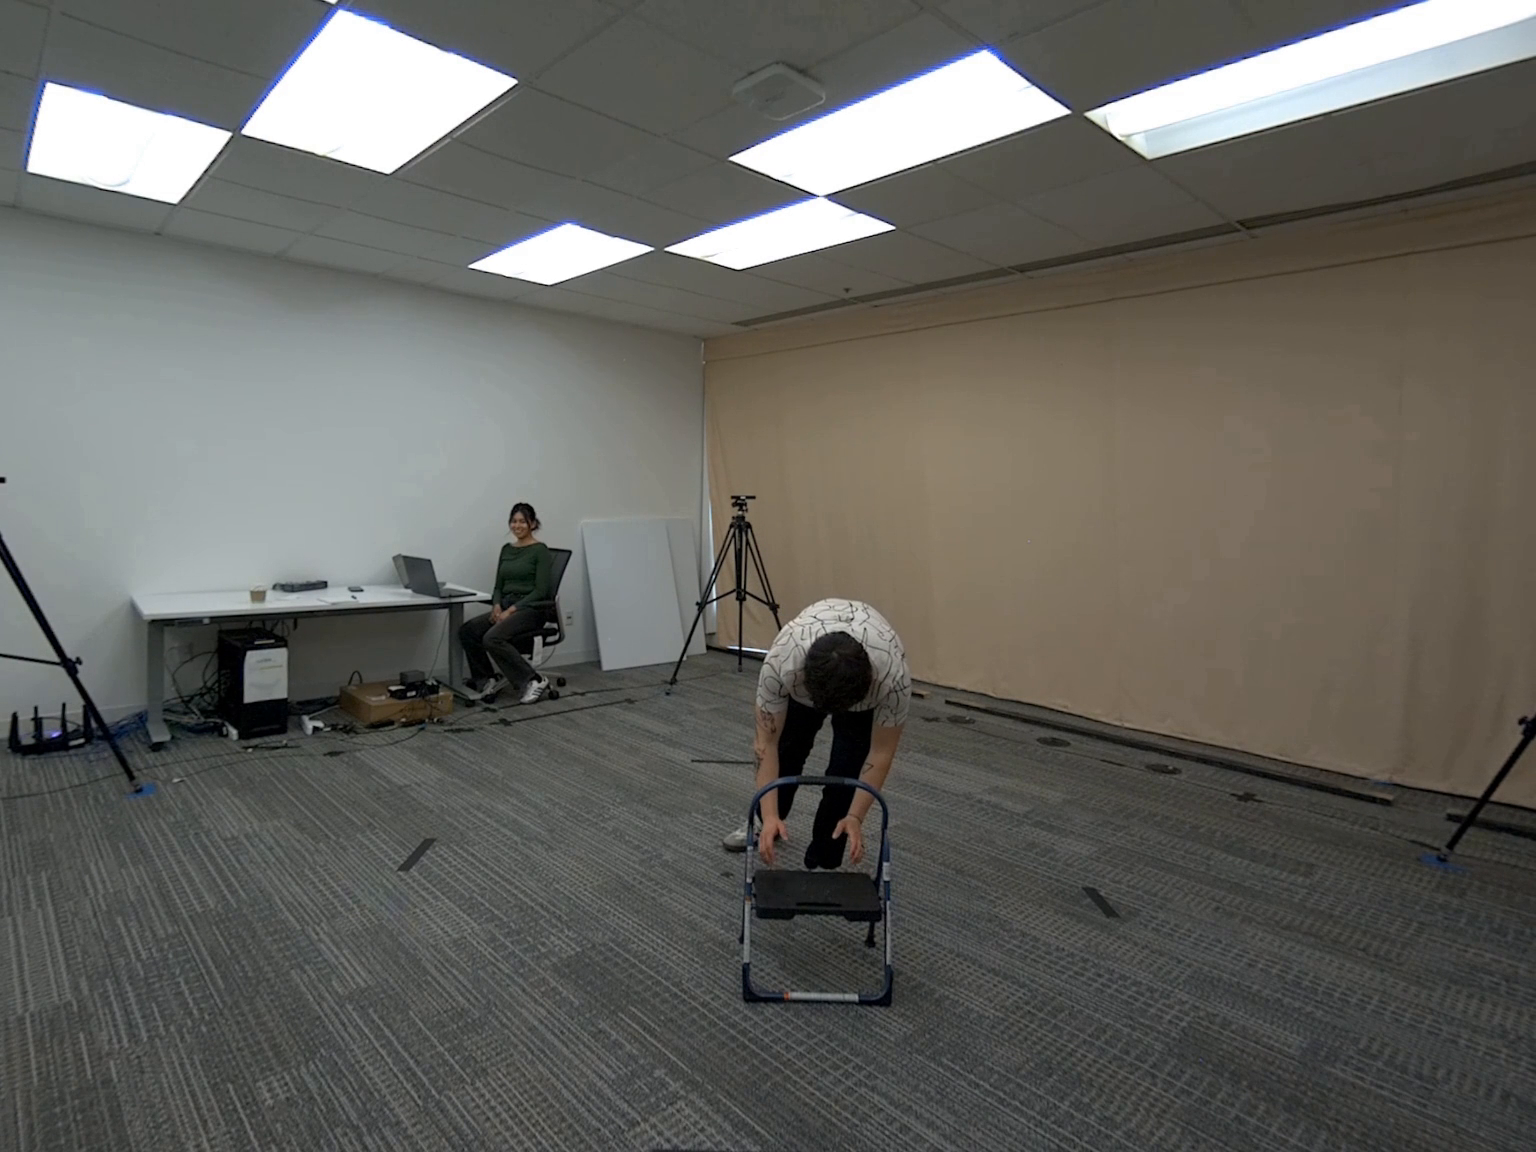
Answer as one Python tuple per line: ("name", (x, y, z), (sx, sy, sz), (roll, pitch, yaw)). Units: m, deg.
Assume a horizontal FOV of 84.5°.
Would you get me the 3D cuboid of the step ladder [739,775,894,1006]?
("step ladder", (0.131, 0.865, 2.464), (0.430, 0.604, 0.350), (1, 4, -1))
